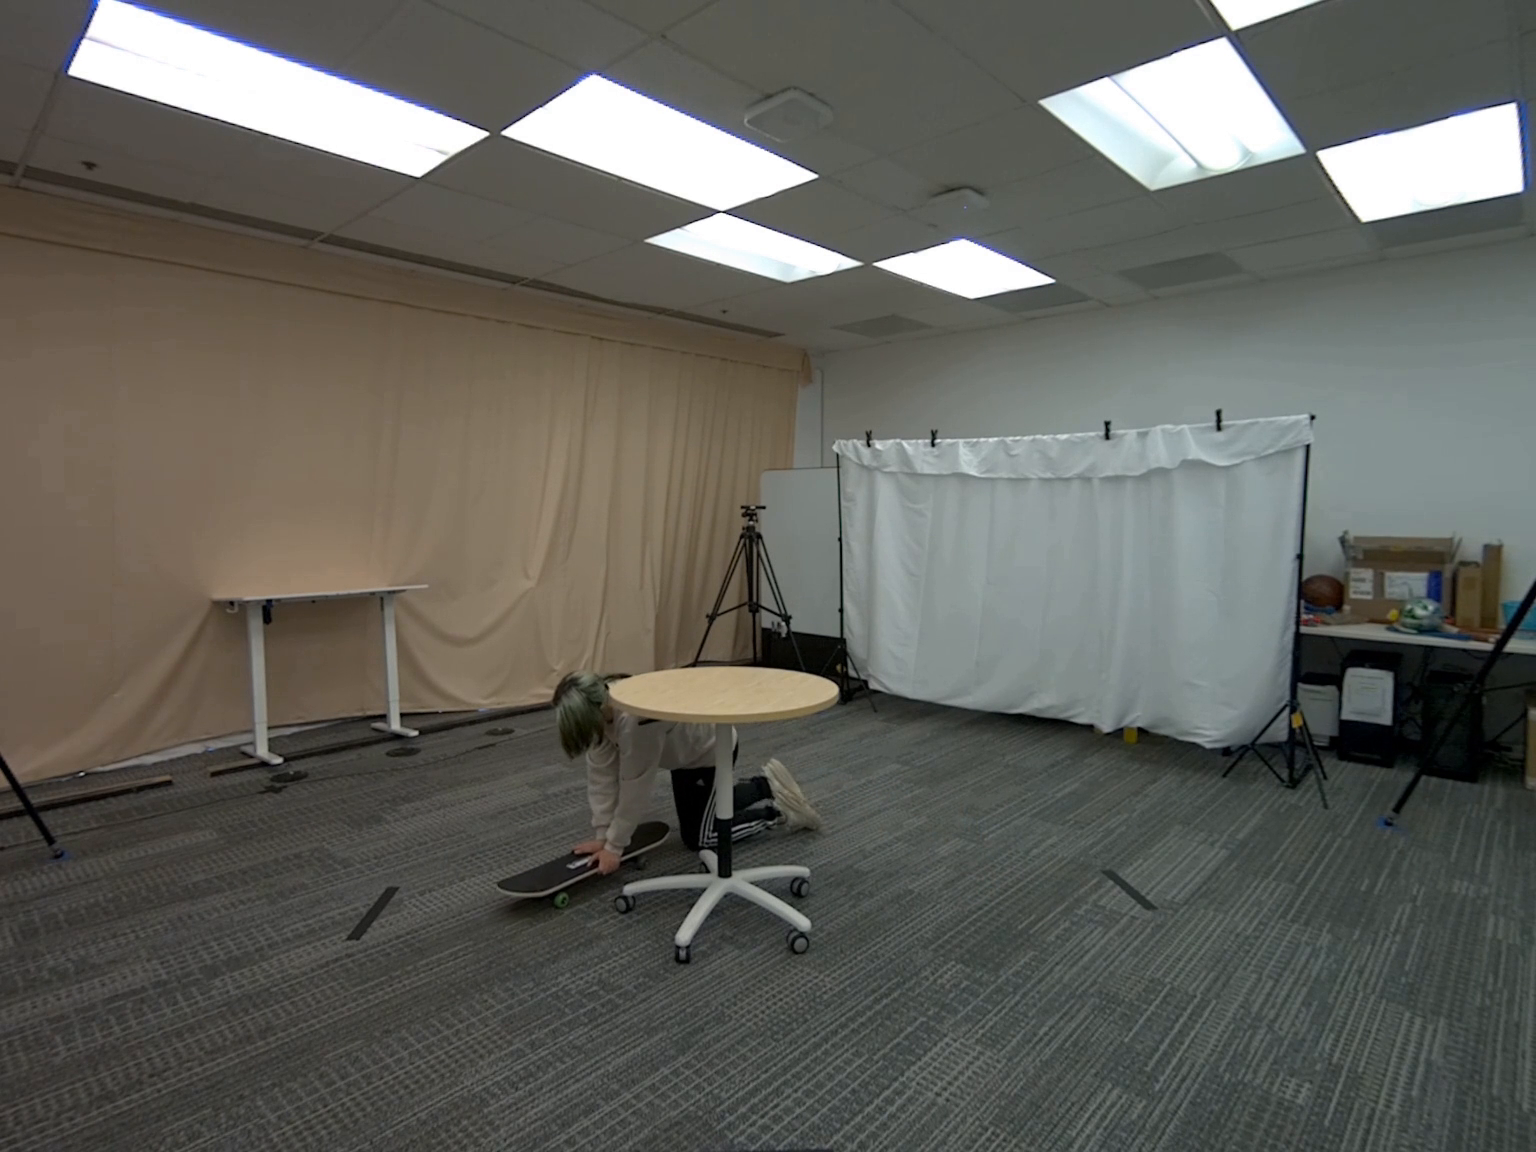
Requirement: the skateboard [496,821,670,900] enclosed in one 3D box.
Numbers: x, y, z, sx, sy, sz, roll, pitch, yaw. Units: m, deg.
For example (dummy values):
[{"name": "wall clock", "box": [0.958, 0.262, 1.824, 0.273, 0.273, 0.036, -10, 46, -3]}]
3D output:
[{"name": "skateboard", "box": [-0.671, 1.088, 3.128, 0.200, 0.110, 0.762, 1, 4, 38]}]
